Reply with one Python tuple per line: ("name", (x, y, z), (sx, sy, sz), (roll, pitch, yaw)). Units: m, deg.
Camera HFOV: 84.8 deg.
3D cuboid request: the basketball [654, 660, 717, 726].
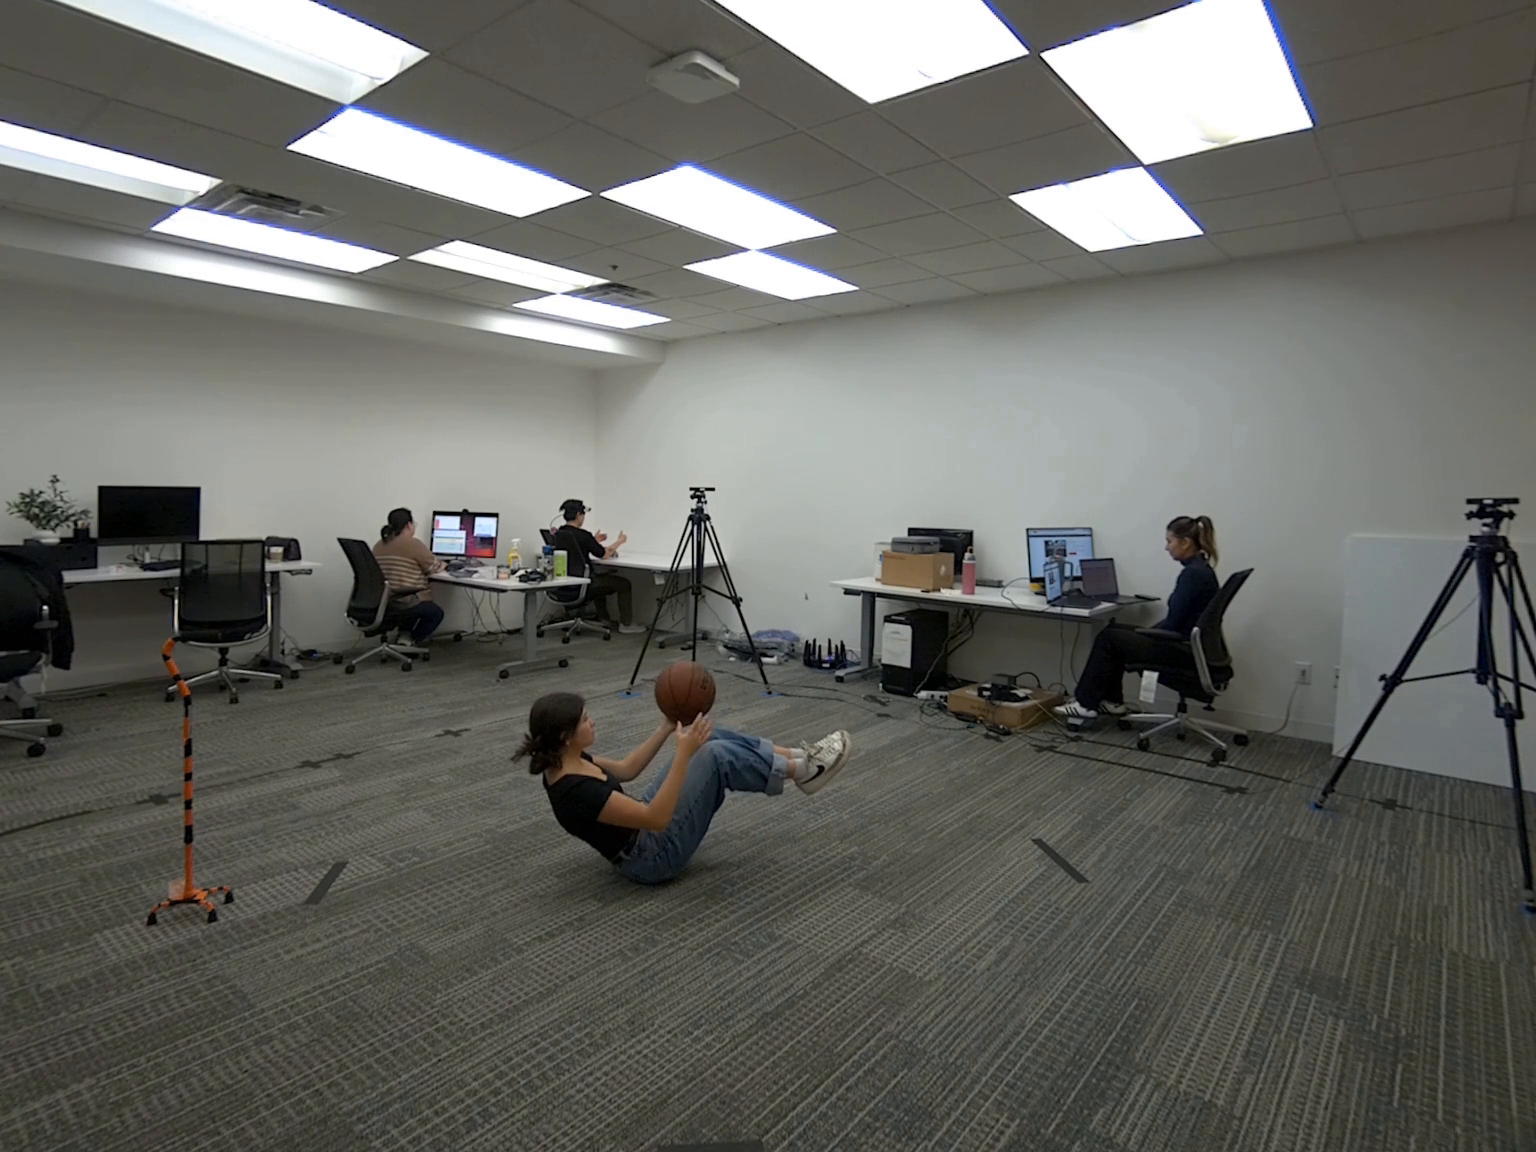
("basketball", (-0.324, 0.461, 3.297), (0.235, 0.235, 0.237), (1, 4, -2))
